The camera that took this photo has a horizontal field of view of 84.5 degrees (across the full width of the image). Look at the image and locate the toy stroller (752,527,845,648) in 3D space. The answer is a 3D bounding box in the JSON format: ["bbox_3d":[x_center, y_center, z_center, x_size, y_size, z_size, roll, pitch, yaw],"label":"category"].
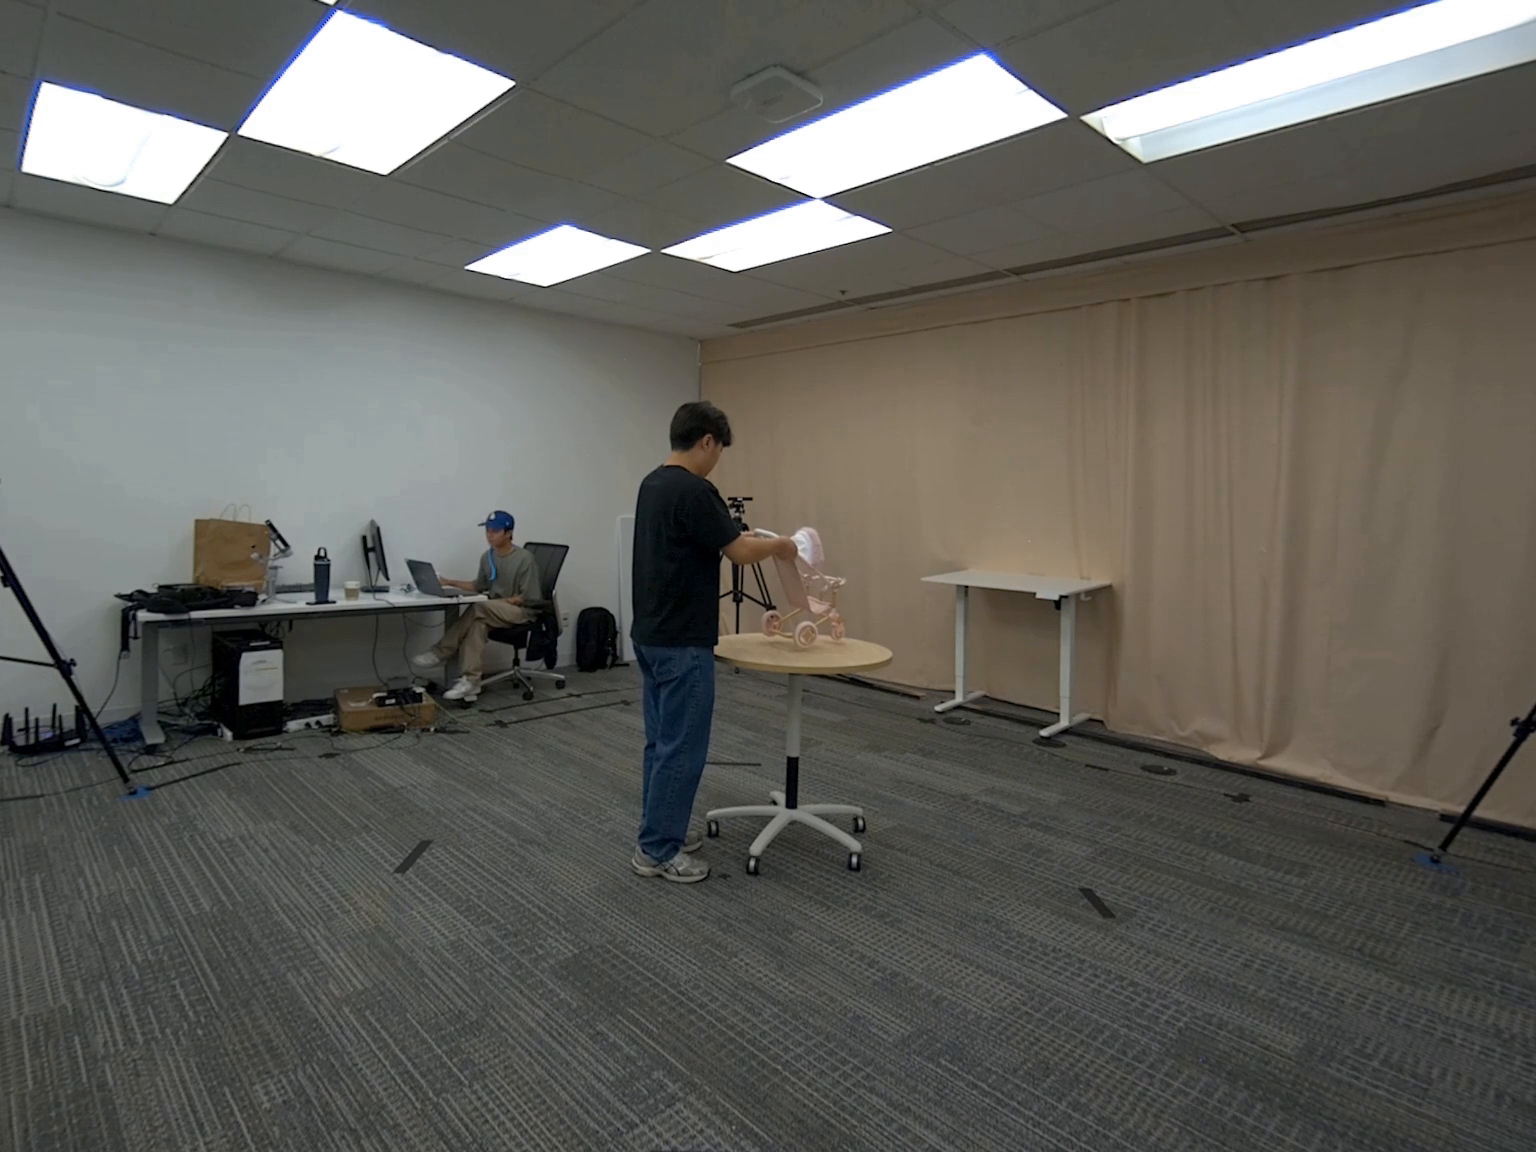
[{"bbox_3d":[0.141,0.046,3.439,0.337,0.530,0.288,-13,12,-24],"label":"toy stroller"}]
